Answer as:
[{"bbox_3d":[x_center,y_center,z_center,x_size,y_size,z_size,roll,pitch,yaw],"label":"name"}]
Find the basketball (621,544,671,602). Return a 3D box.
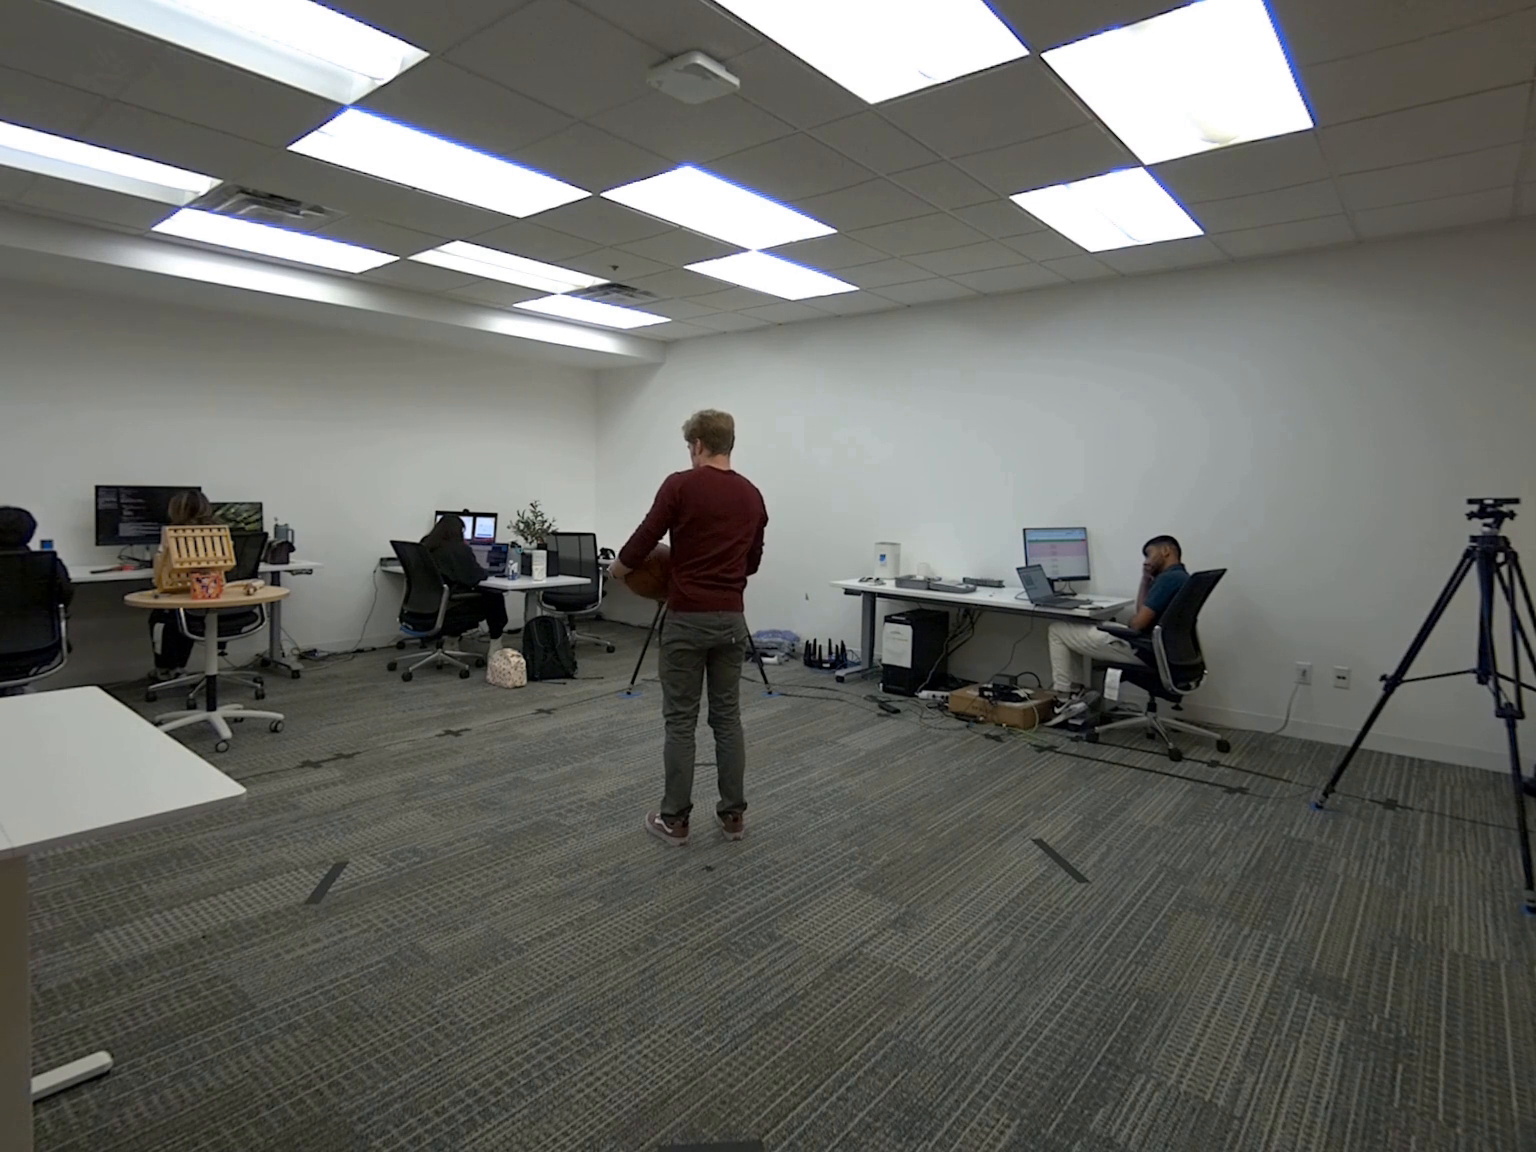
[{"bbox_3d":[-0.467,-0.029,3.530,0.235,0.235,0.237,1,4,-2],"label":"basketball"}]
